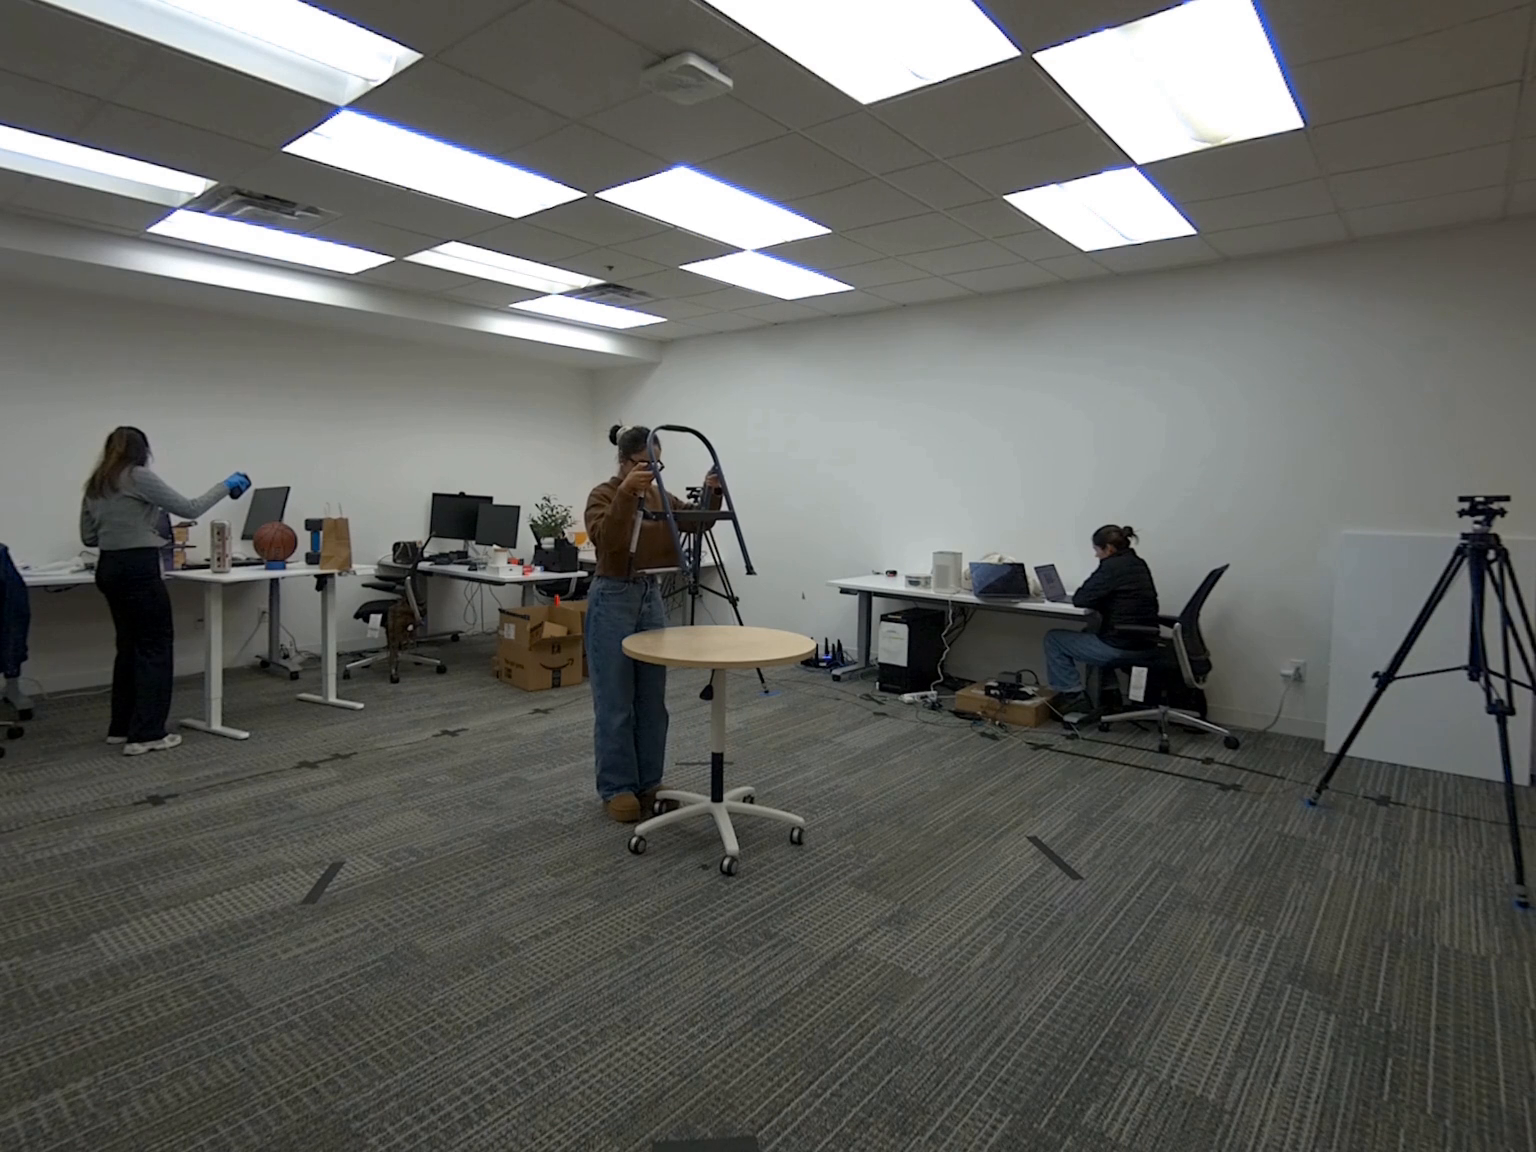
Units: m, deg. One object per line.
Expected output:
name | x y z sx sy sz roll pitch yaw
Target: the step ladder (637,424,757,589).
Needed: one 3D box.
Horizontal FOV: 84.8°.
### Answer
step ladder | -0.321 -0.307 3.410 0.360 0.605 0.418 2 2 36
